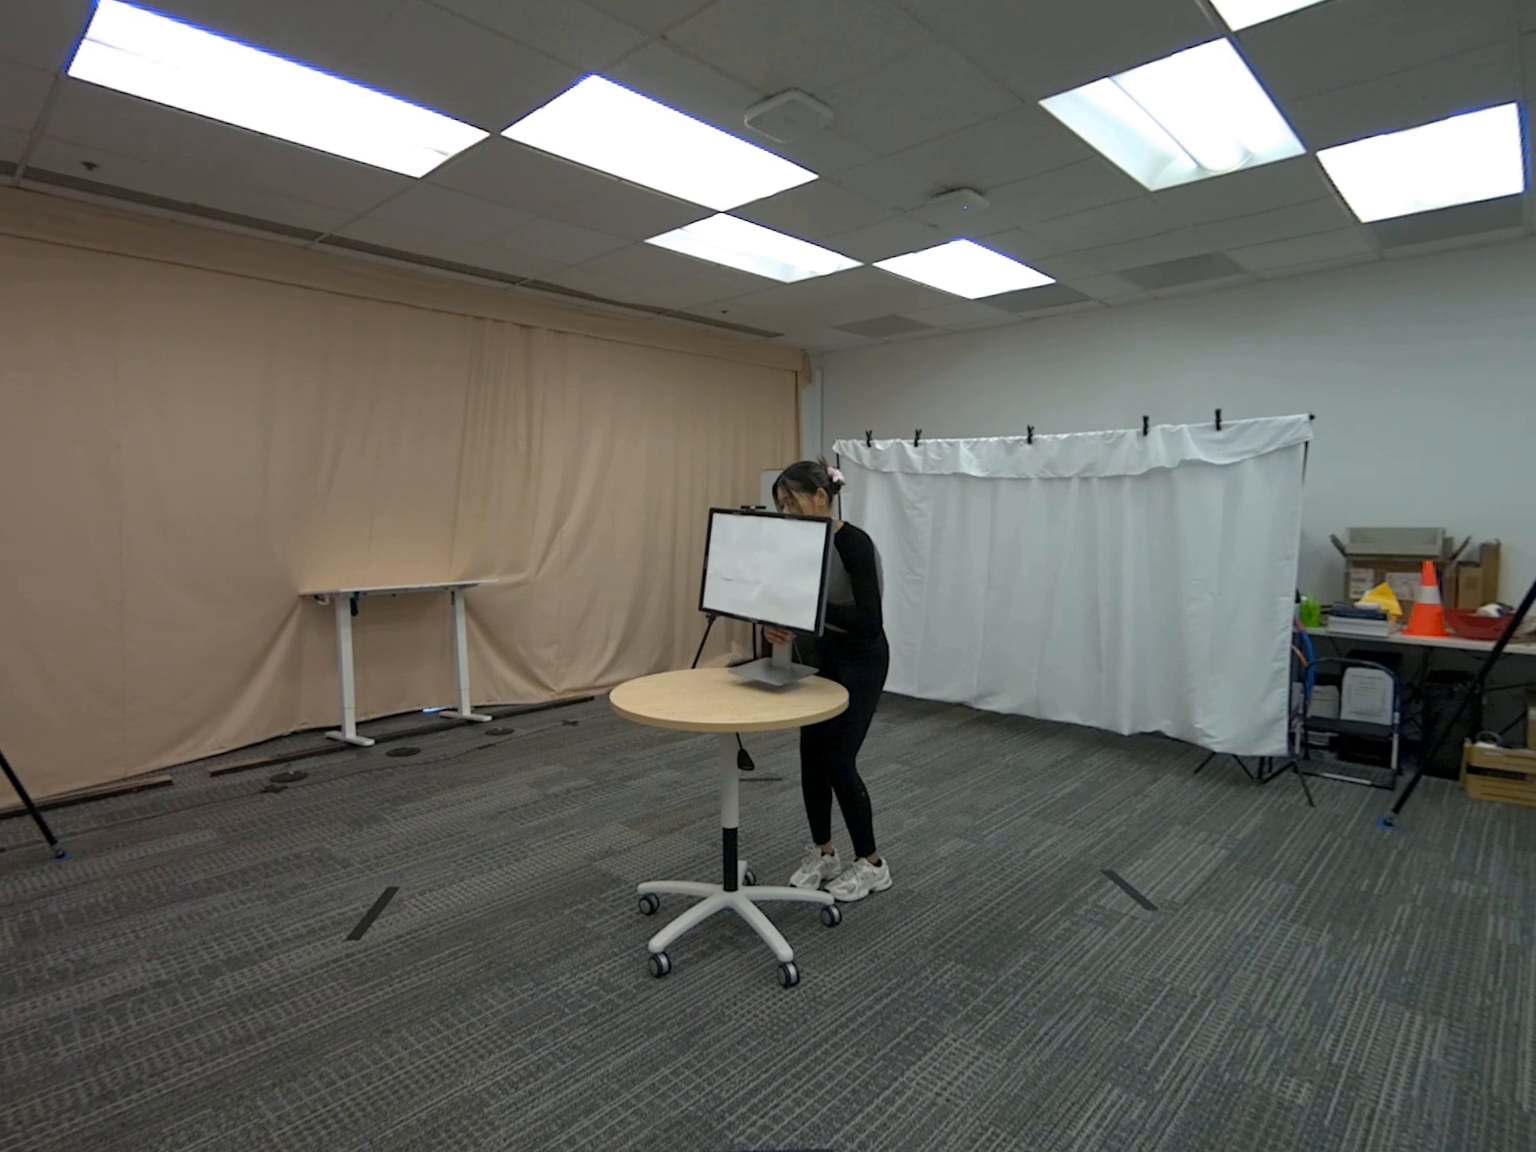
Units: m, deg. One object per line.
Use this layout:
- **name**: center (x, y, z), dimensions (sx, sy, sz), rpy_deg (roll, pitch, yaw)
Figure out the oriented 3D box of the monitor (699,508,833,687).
- **monitor**: center (0.009, 0.062, 2.773), dimensions (0.182, 0.519, 0.558), rpy_deg (-11, 13, -43)
